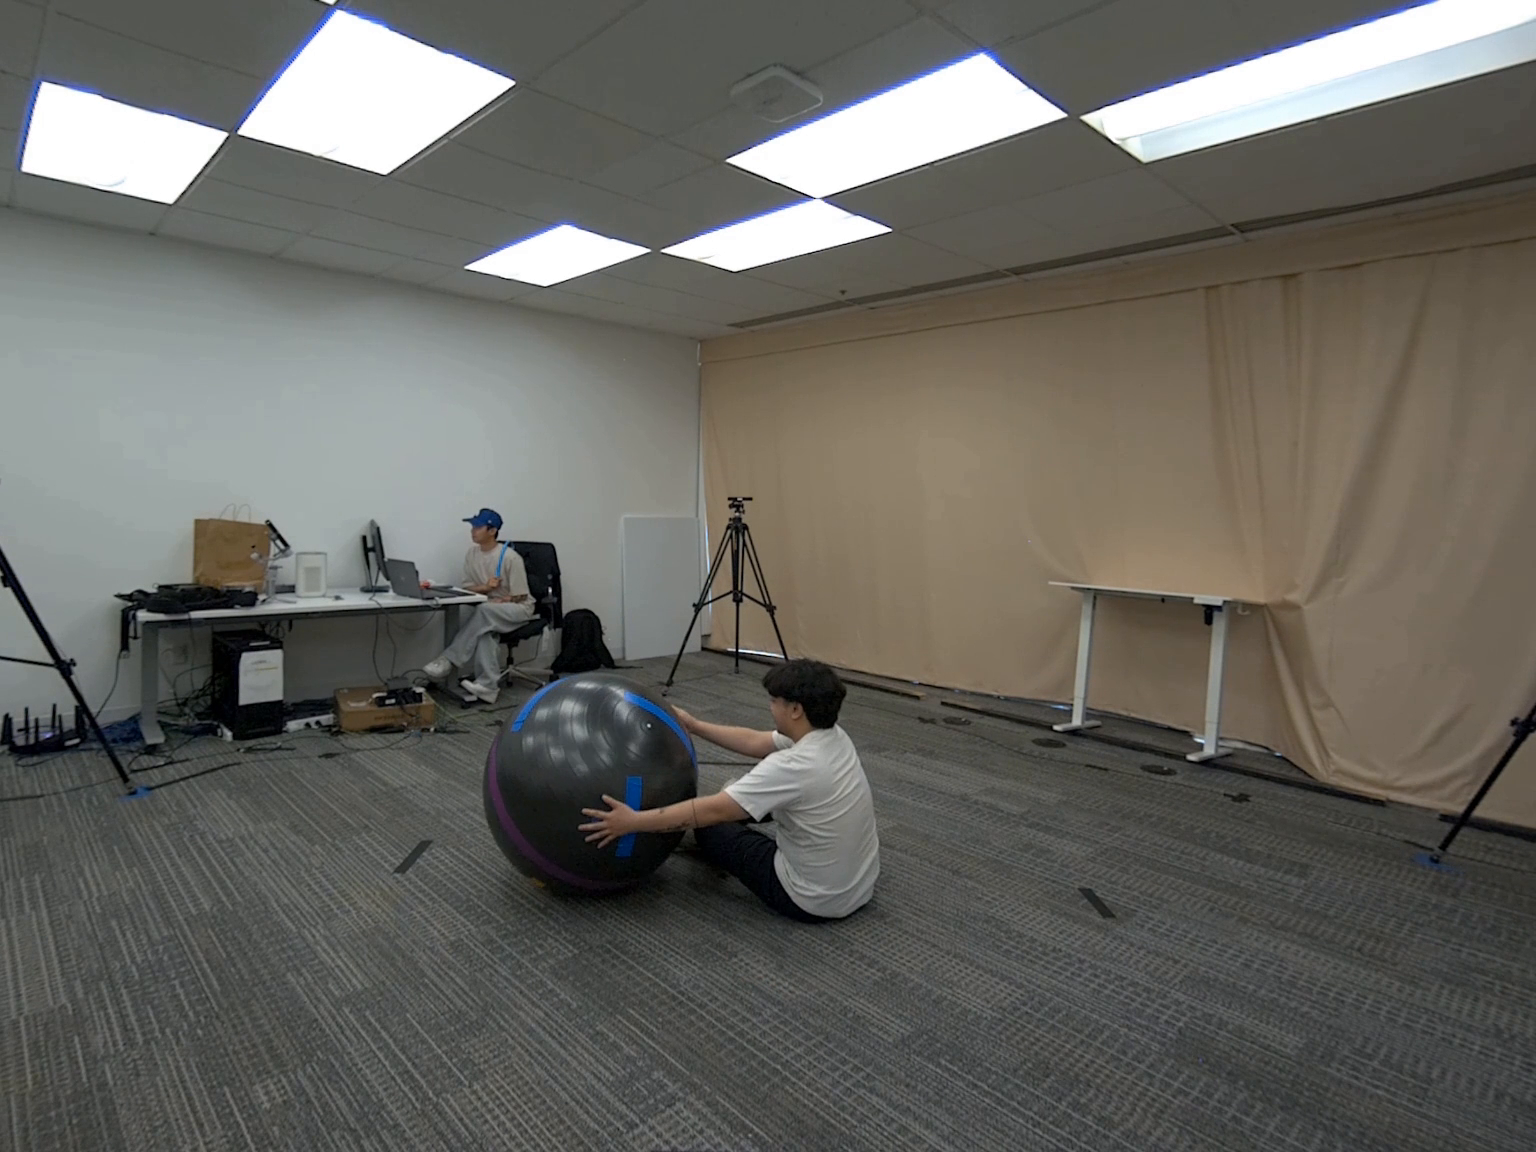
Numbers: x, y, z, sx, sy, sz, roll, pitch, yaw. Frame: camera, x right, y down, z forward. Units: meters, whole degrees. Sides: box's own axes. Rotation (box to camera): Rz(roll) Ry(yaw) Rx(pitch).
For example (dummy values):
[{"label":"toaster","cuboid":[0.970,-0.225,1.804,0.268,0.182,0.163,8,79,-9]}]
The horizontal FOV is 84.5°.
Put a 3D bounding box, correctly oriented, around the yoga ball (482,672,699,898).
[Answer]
[{"label":"yoga ball","cuboid":[-0.634,0.737,3.003,0.757,0.756,0.760,1,4,-1]}]
